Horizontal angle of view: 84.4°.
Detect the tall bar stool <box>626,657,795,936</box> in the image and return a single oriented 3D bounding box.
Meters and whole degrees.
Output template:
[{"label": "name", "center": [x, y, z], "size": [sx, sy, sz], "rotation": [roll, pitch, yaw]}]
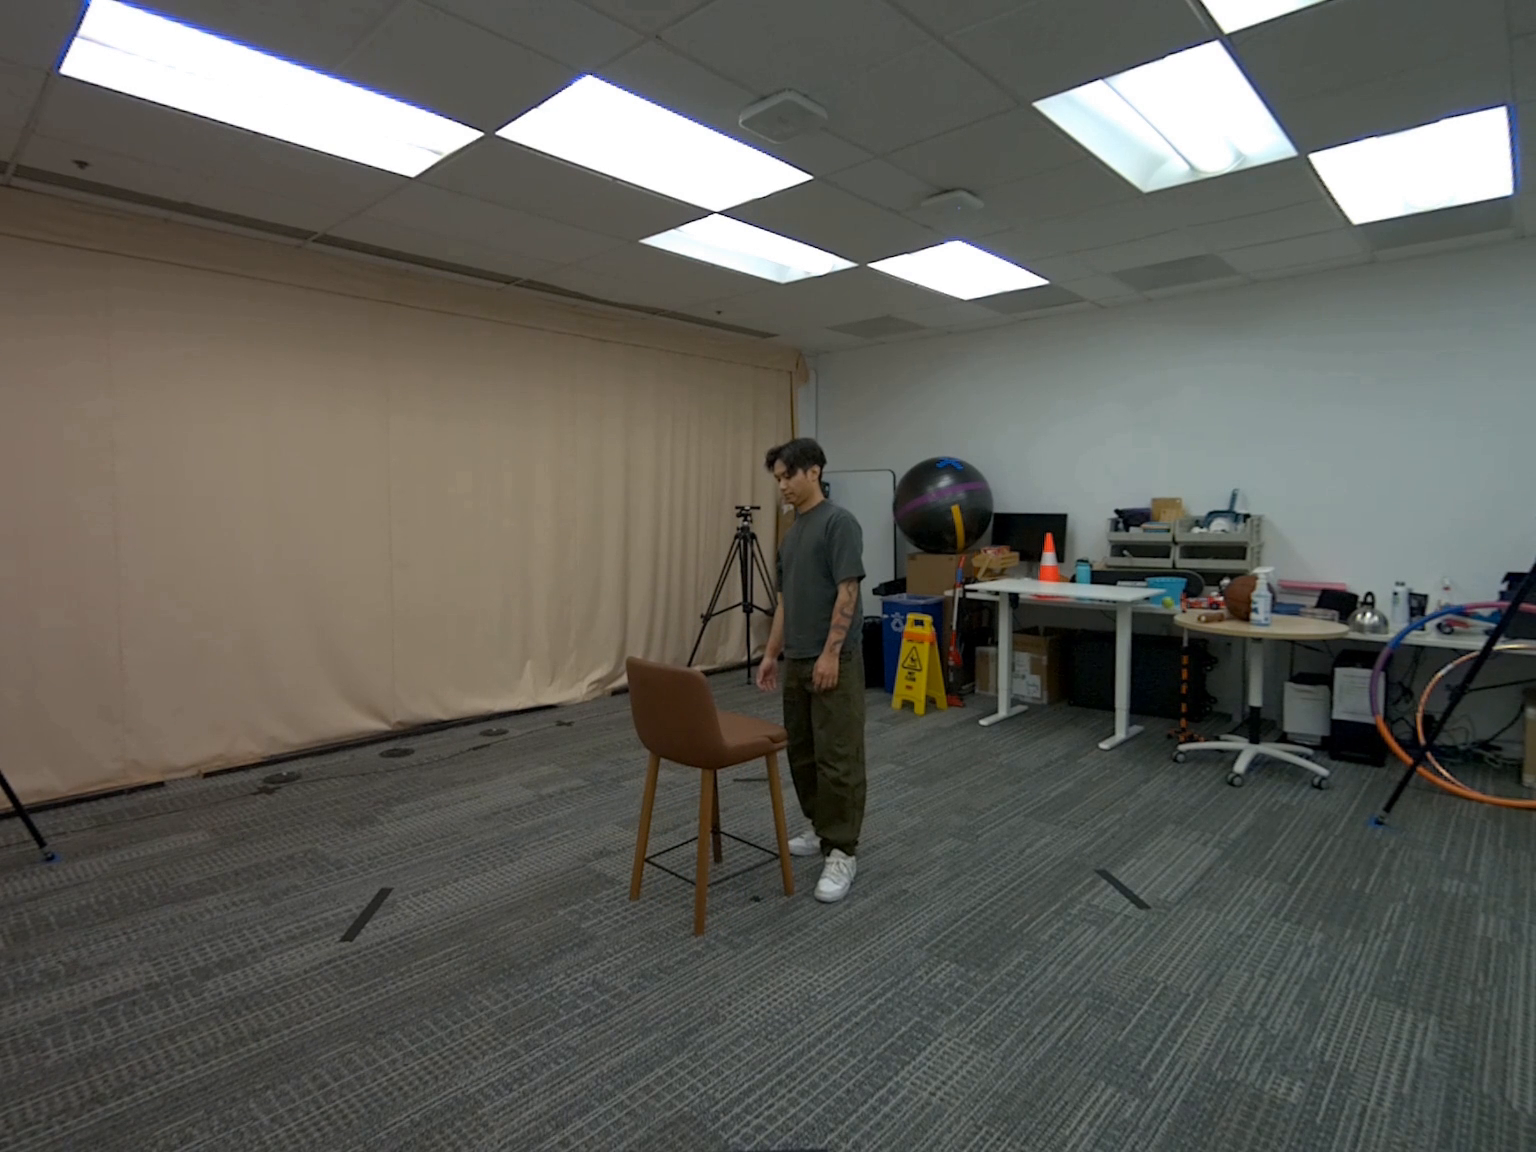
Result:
[{"label": "tall bar stool", "center": [-0.210, 0.712, 2.979], "size": [0.454, 0.887, 0.472], "rotation": [-6, 6, -44]}]
